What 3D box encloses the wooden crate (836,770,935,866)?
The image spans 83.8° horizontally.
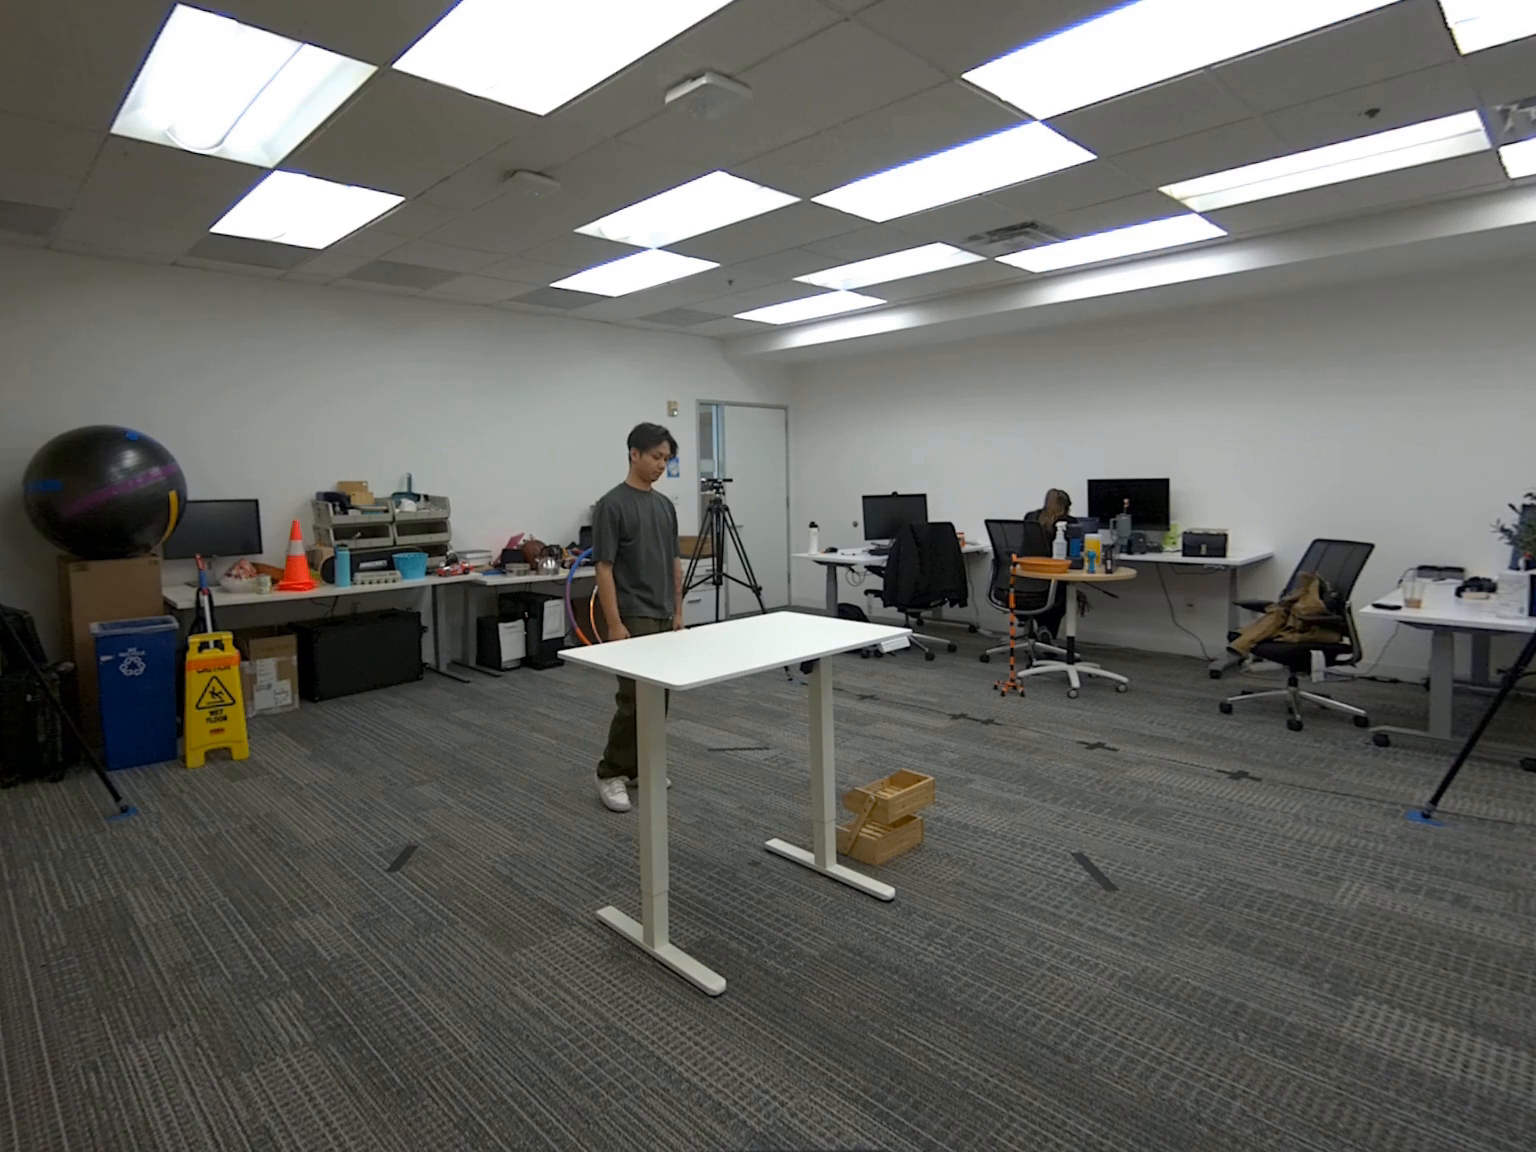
[{"bbox_3d":[0.420,0.889,3.232,0.311,0.272,0.316,5,8,45],"label":"wooden crate"}]
